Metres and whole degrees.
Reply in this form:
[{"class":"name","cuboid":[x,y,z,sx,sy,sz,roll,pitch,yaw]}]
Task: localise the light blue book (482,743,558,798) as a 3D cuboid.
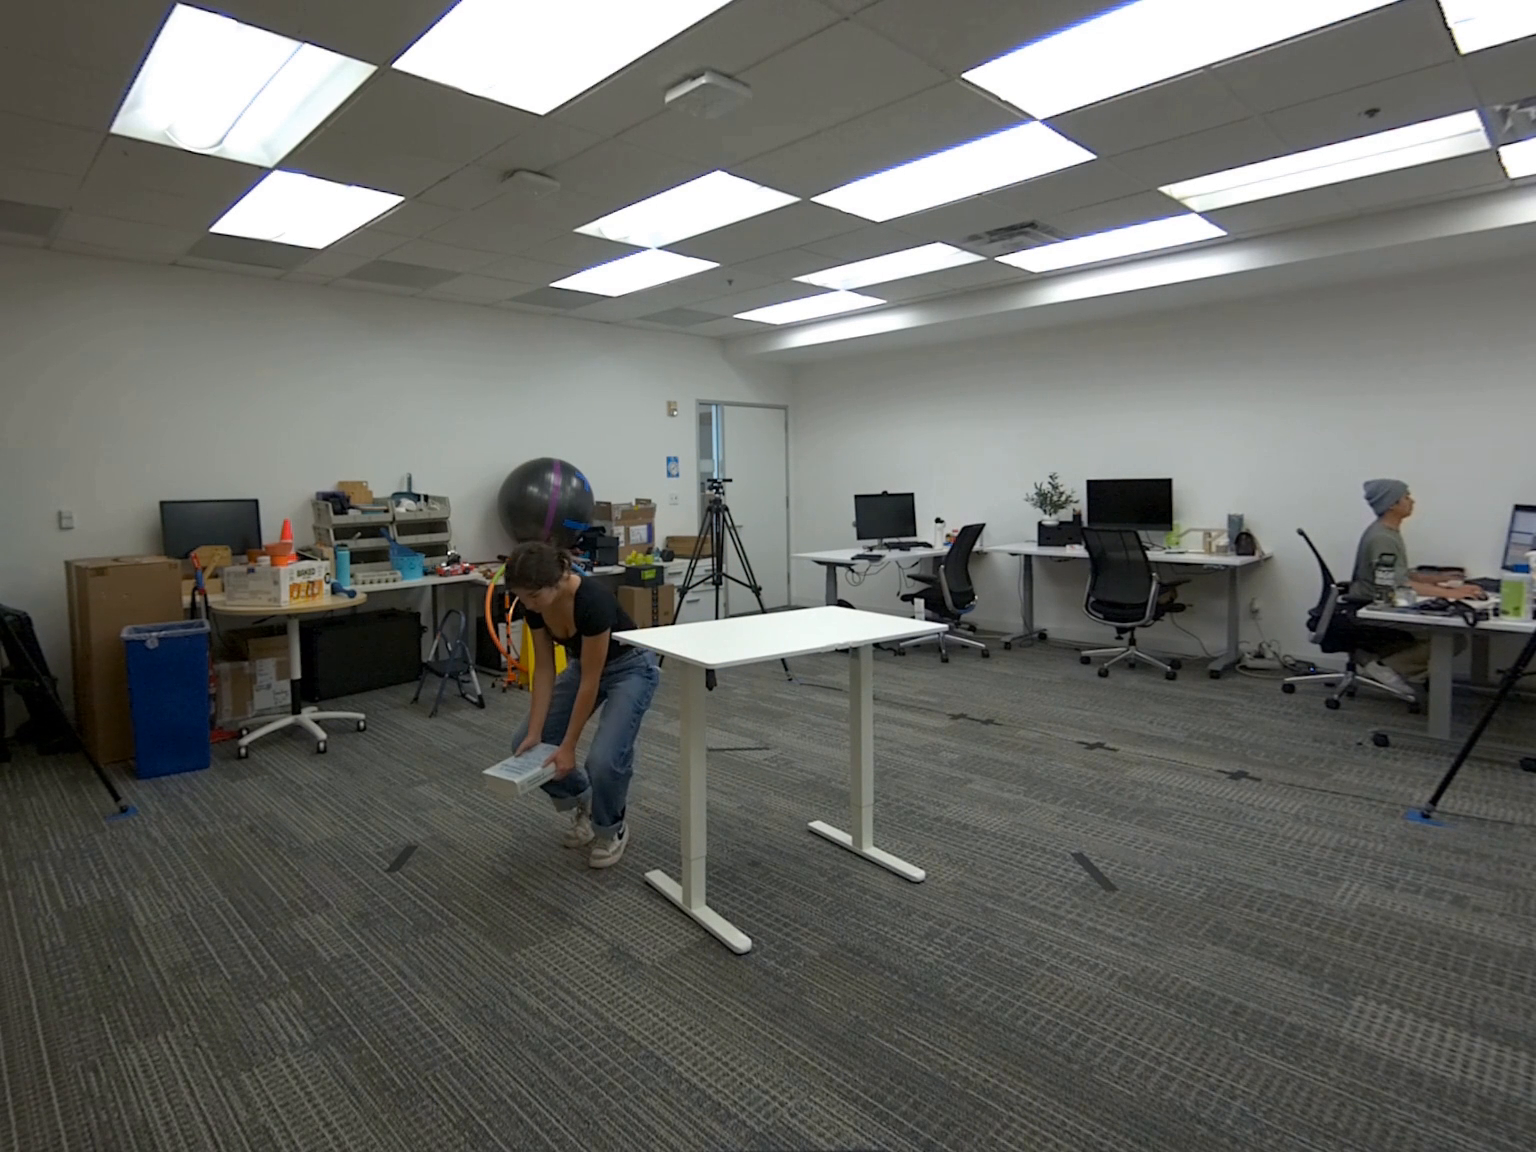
[{"class":"light blue book","cuboid":[-0.841,0.679,2.994,0.197,0.058,0.256,2,14,34]}]
